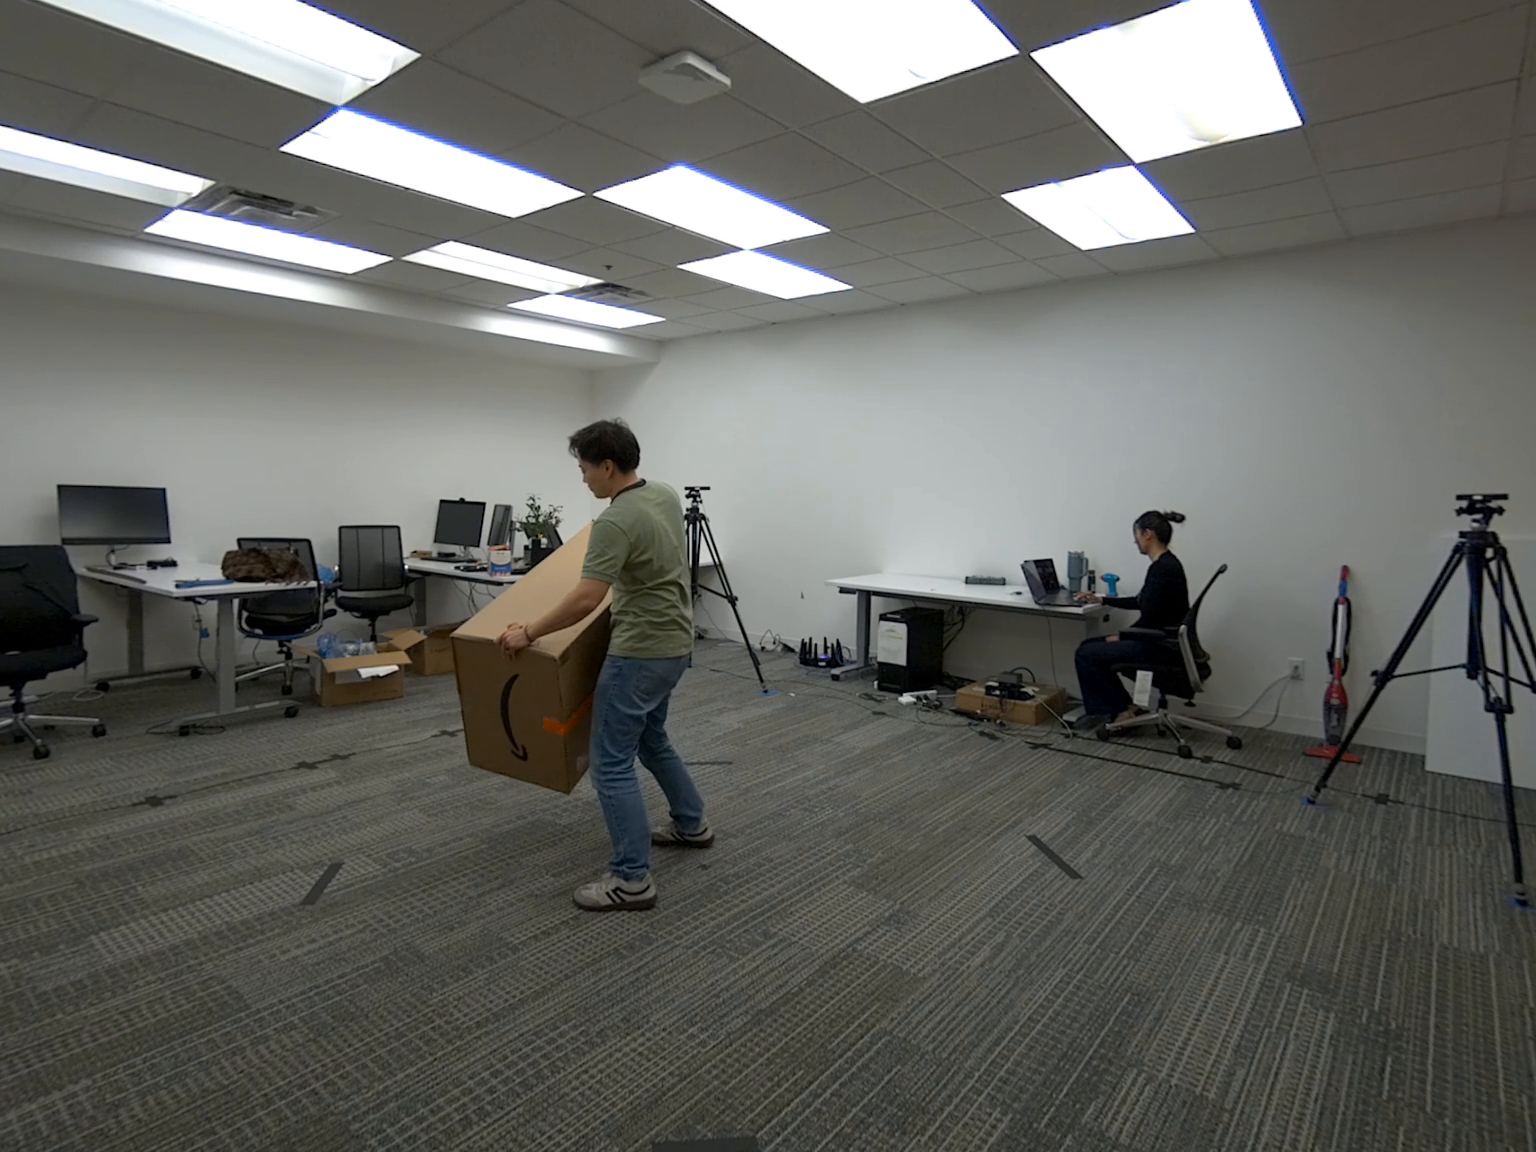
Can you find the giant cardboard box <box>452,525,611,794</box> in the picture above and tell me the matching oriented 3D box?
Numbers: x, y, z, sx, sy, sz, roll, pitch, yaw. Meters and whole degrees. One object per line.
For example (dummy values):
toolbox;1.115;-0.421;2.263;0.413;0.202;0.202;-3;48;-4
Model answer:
giant cardboard box;-0.760;0.265;3.379;0.435;0.565;1.028;10;28;15
